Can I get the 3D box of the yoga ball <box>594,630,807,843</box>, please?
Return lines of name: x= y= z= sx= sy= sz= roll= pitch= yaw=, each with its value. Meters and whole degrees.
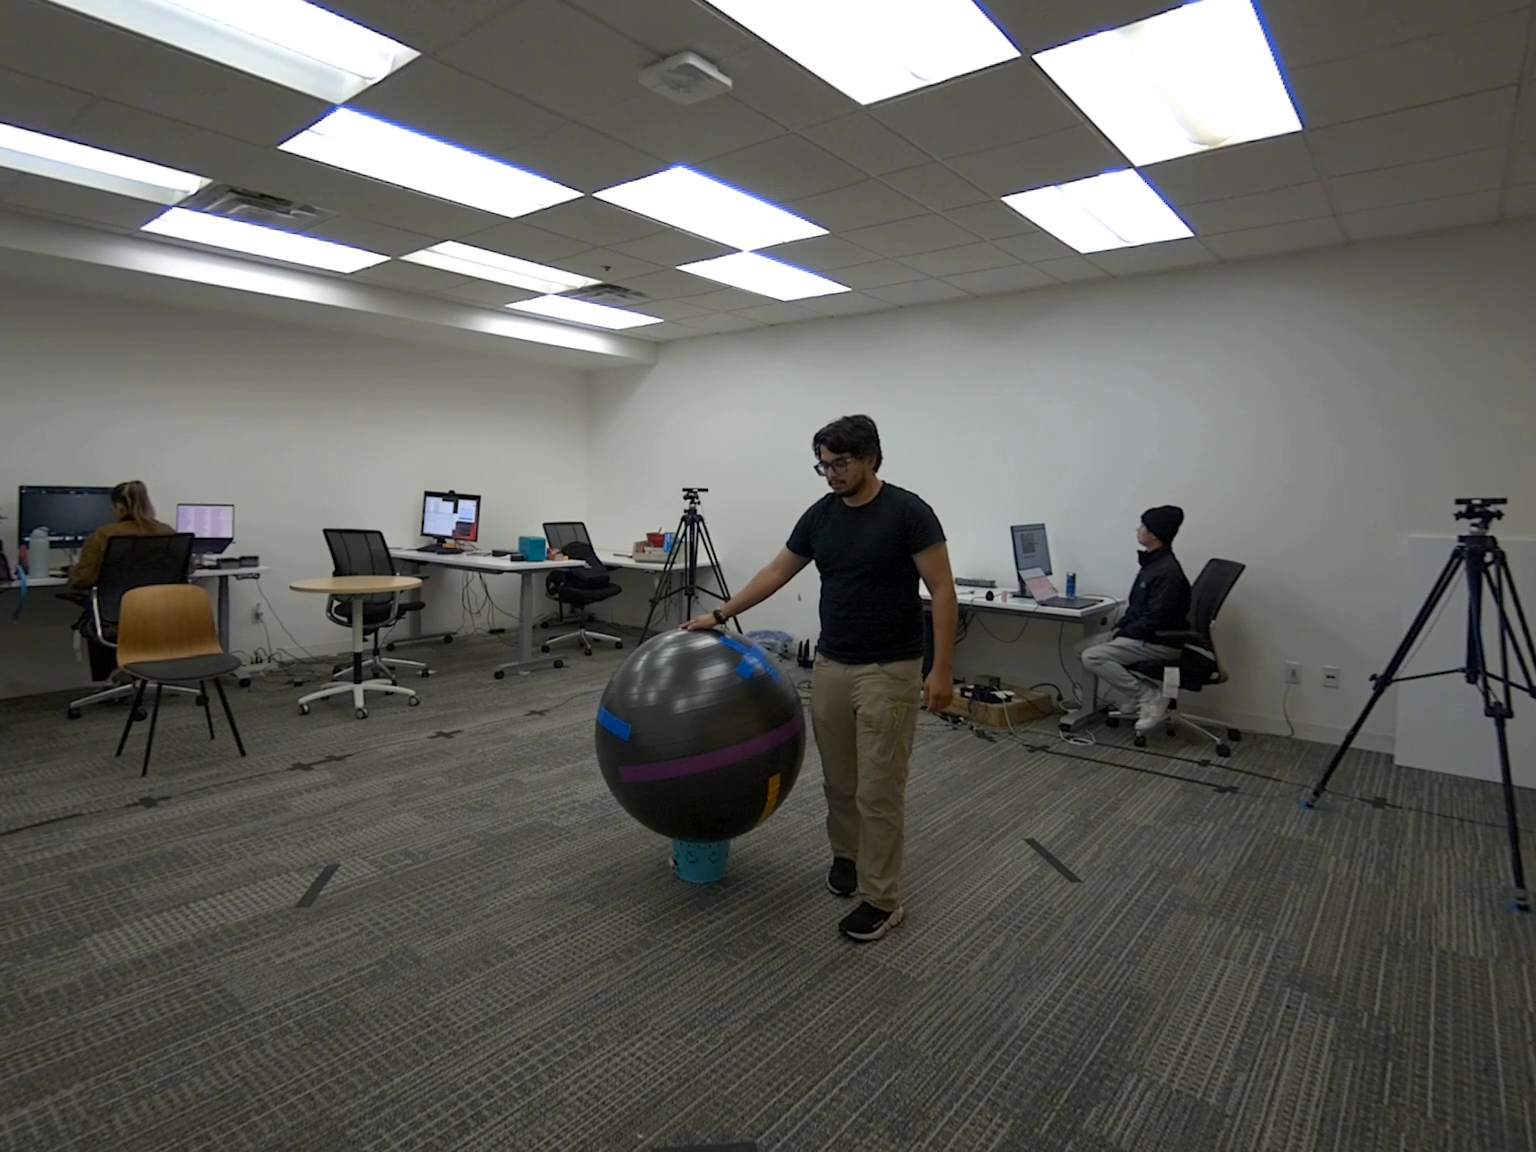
yoga ball: x=-0.254 y=0.567 z=3.068 sx=0.757 sy=0.756 sz=0.762 roll=1 pitch=4 yaw=-2
